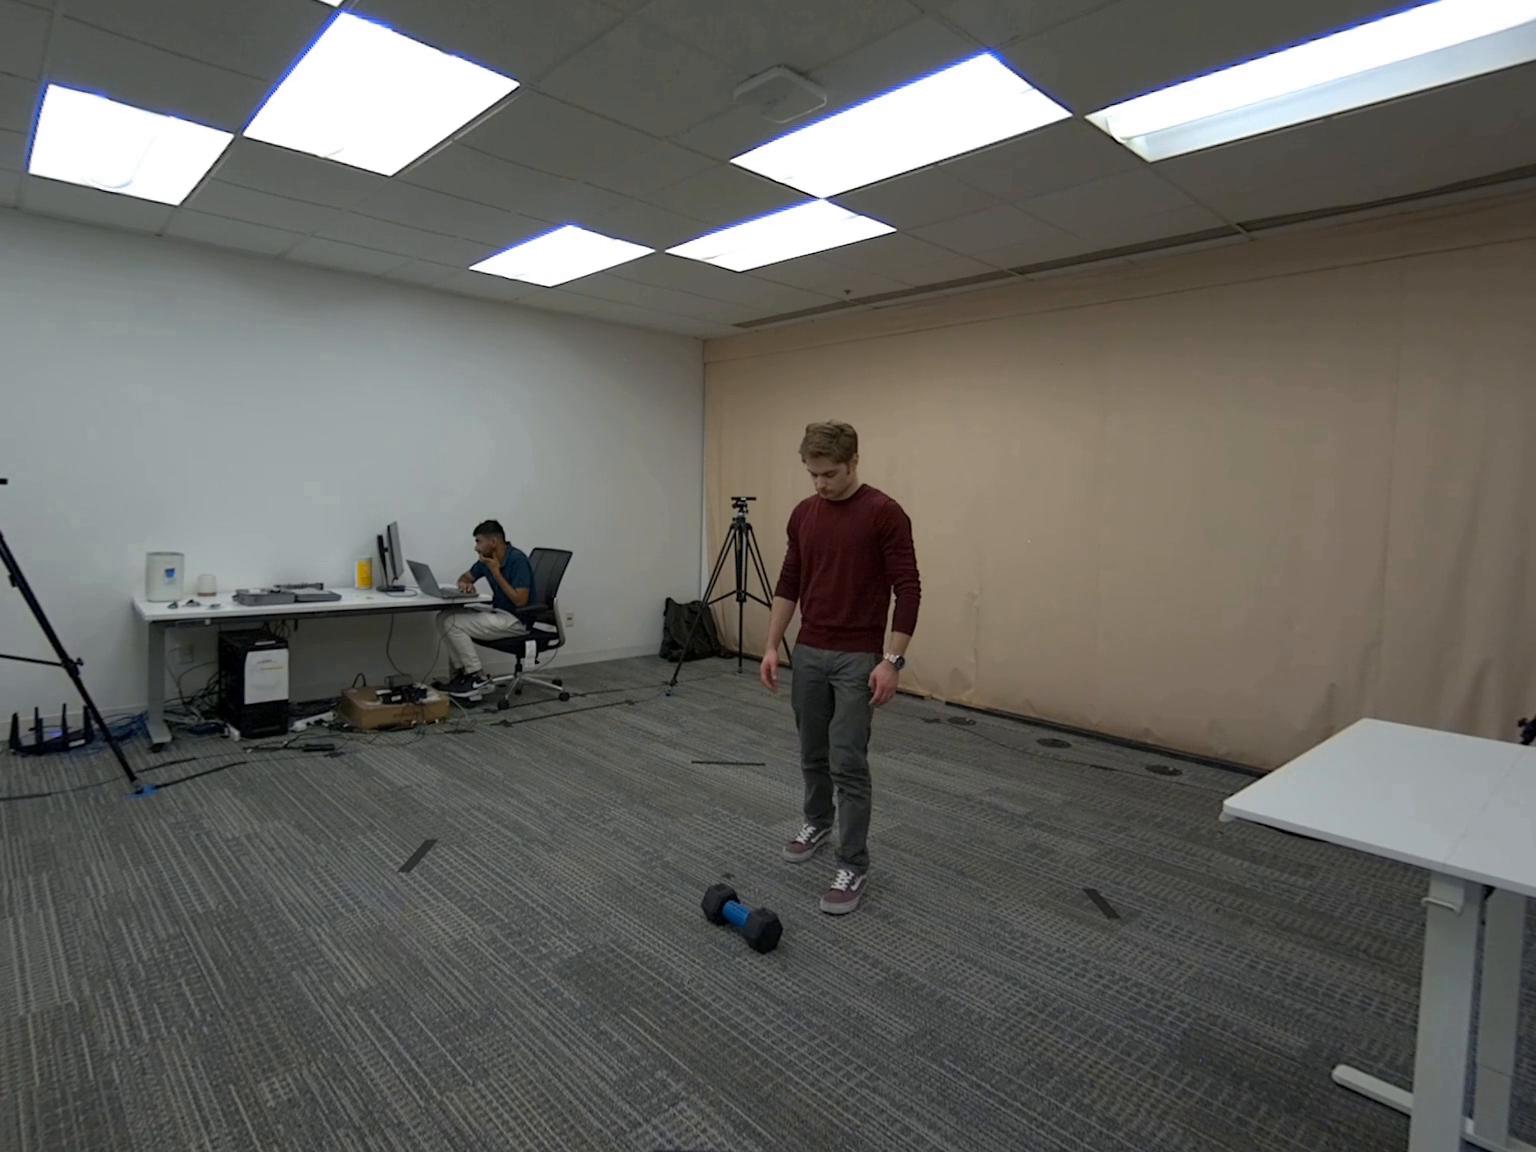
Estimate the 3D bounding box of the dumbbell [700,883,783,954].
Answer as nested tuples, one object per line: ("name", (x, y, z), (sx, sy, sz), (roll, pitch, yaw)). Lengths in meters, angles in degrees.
("dumbbell", (-0.091, 1.093, 2.691), (0.108, 0.120, 0.301), (-37, 26, -30))
